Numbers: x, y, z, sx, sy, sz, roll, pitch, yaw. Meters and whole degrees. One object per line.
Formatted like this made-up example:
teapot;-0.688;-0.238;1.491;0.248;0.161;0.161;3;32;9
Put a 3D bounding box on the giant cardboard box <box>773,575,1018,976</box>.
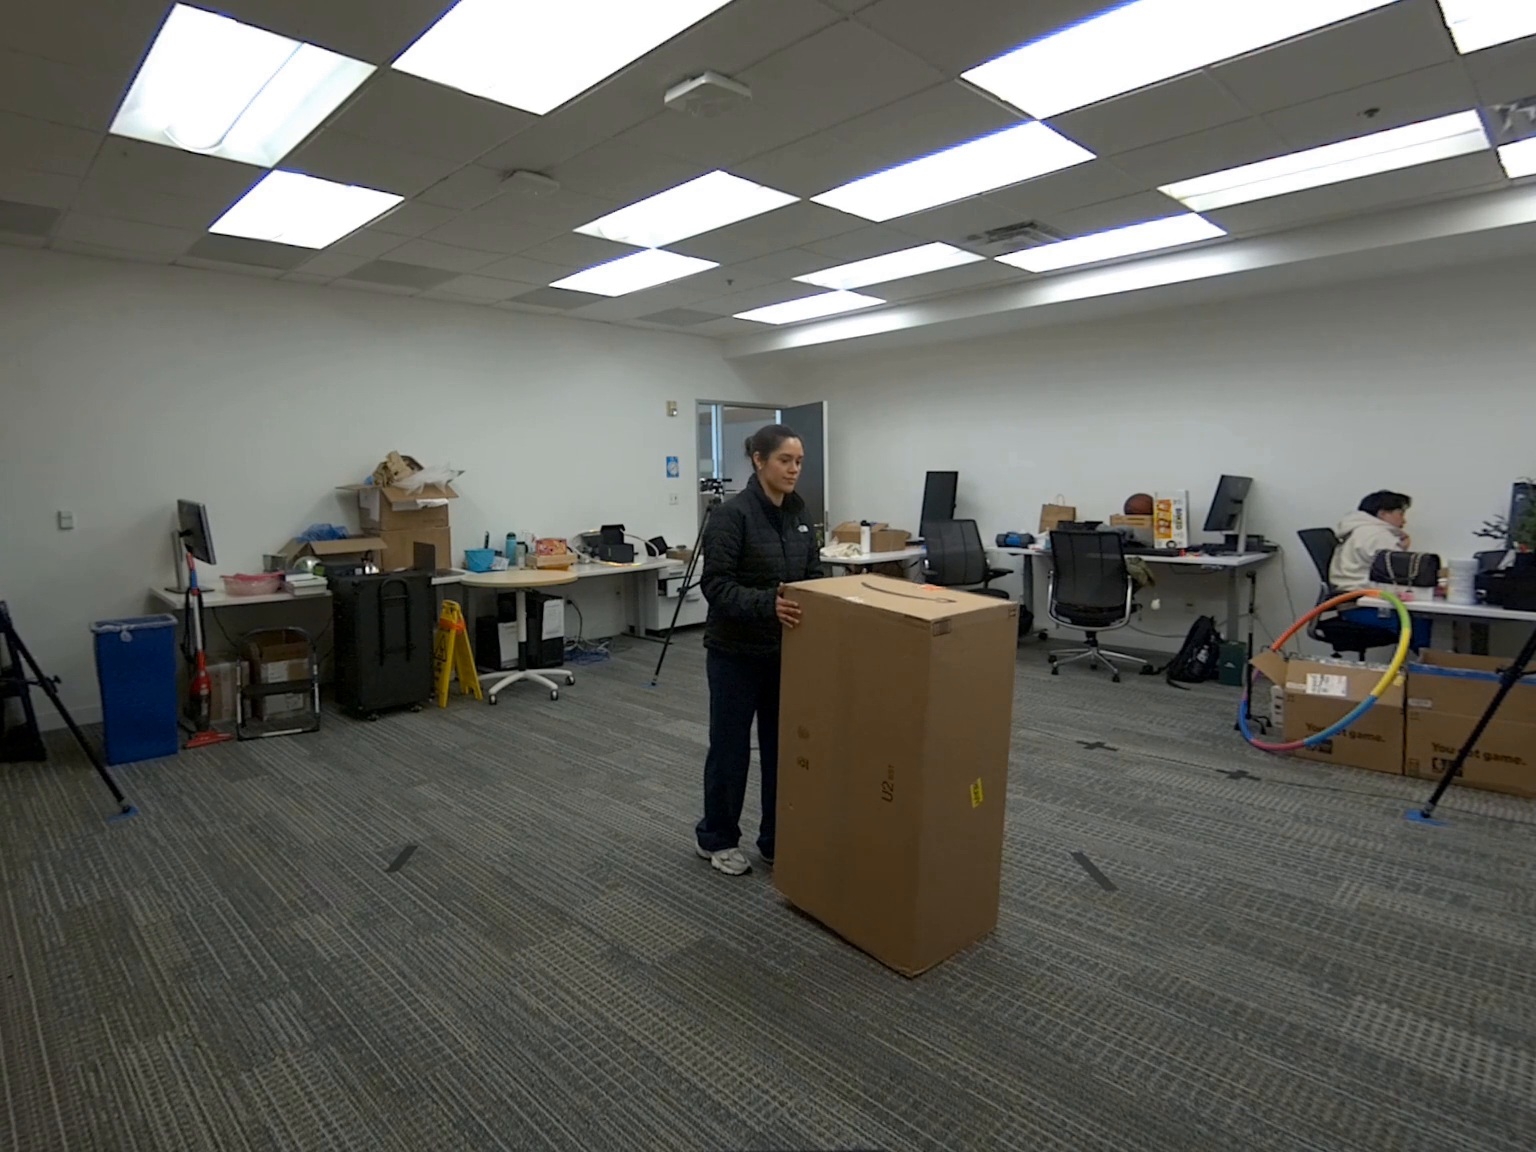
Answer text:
giant cardboard box;0.382;0.562;2.670;0.415;1.019;0.597;-4;10;-40
